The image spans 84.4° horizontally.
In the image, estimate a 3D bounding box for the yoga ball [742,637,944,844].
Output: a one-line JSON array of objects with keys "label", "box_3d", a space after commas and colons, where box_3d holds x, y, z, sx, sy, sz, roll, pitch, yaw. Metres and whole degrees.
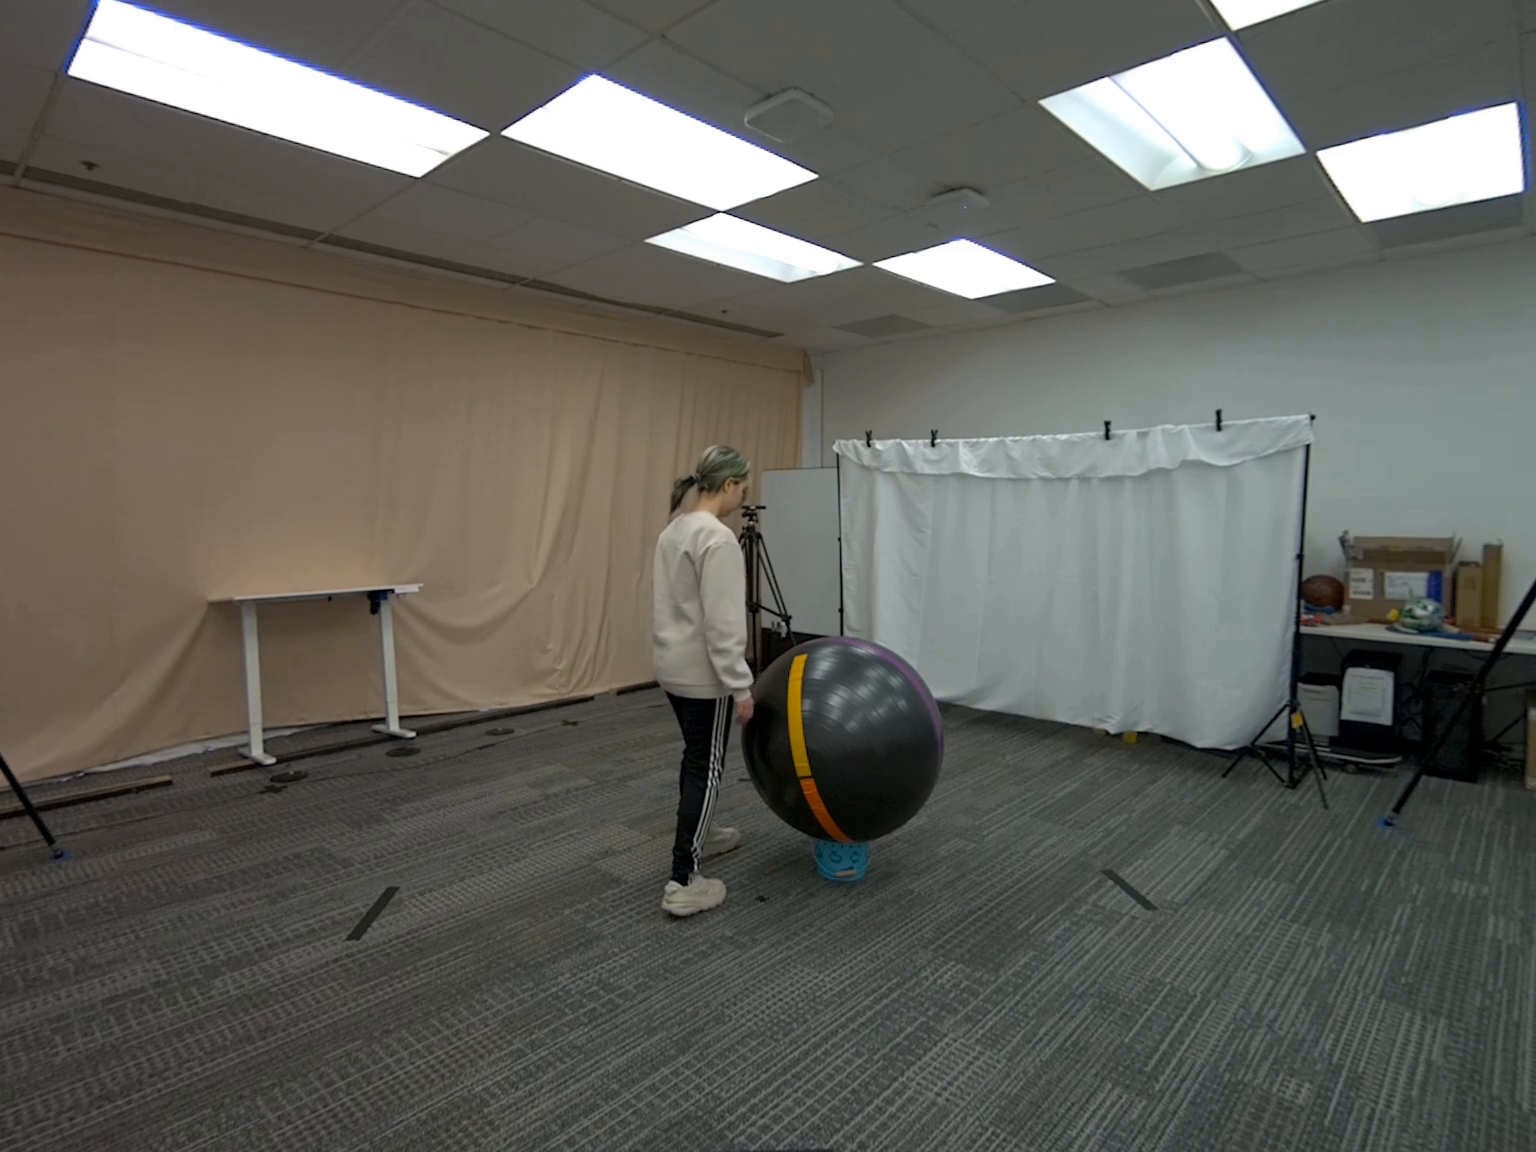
[{"label": "yoga ball", "box_3d": [0.279, 0.611, 3.189, 0.757, 0.756, 0.761, 0, 4, -2]}]
